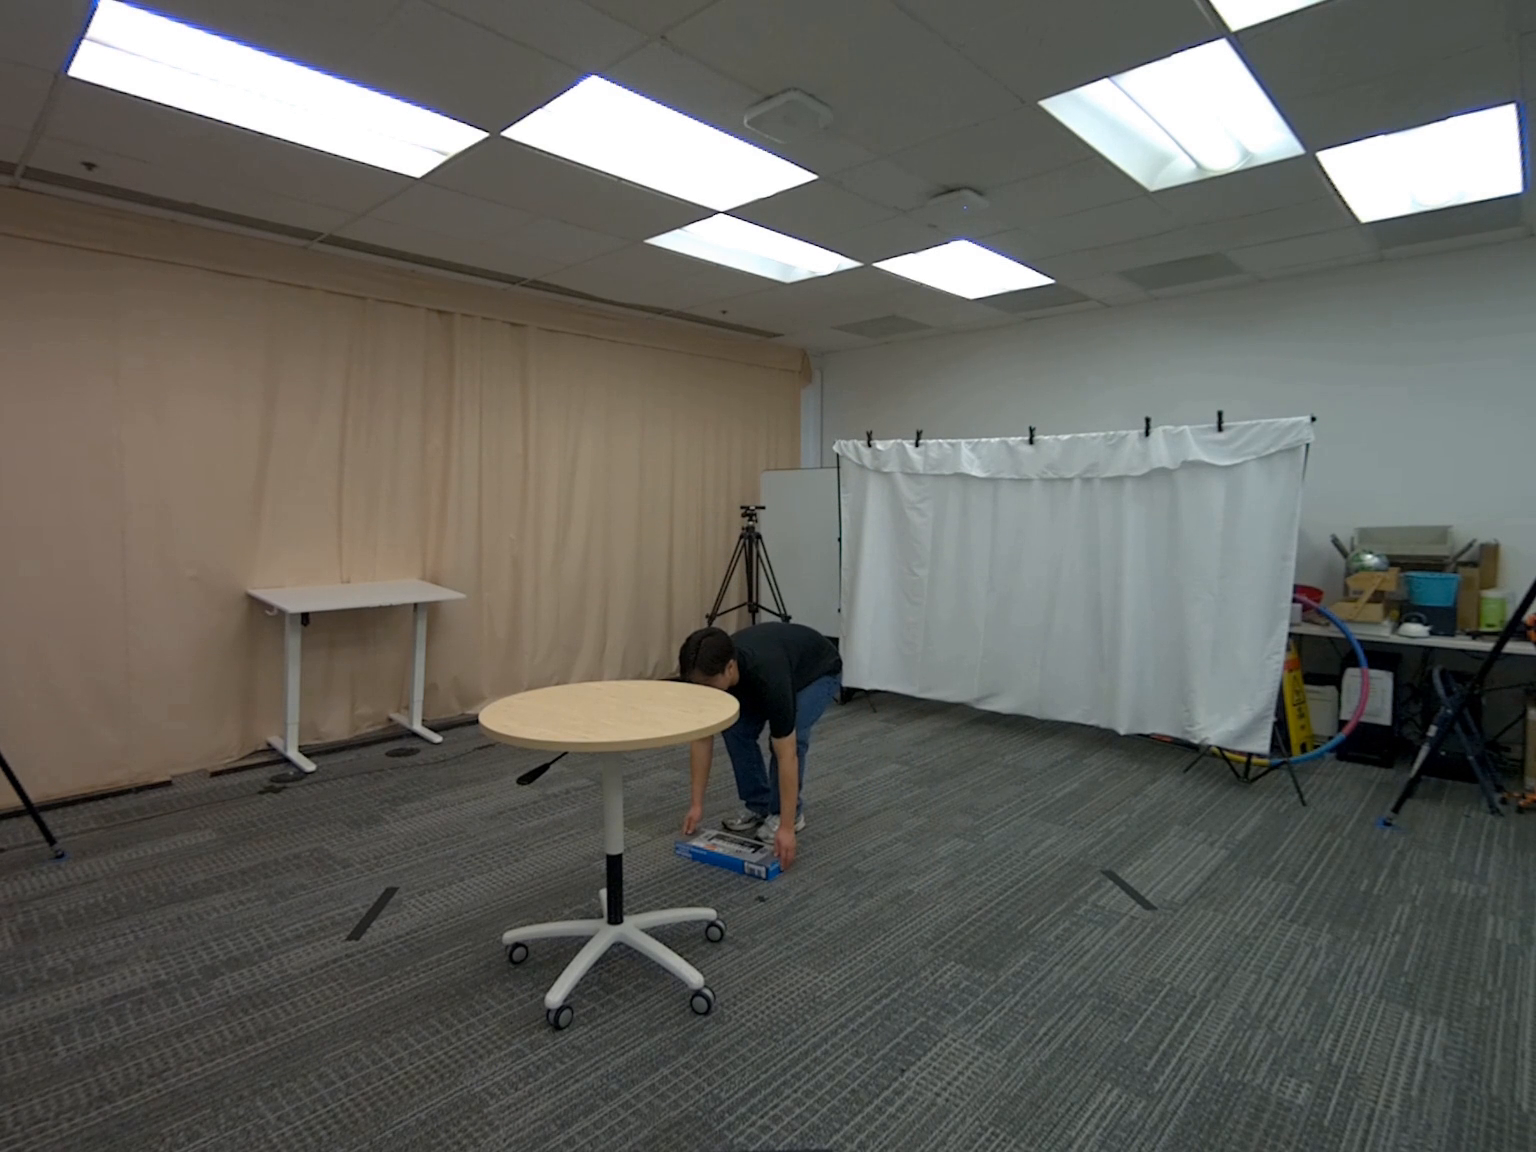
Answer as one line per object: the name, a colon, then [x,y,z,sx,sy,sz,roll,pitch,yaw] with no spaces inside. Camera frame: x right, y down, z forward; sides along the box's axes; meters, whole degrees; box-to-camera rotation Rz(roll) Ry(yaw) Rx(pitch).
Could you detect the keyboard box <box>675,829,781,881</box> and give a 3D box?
keyboard box: [-0.142,1.082,3.311,0.450,0.059,0.171,3,7,34]
